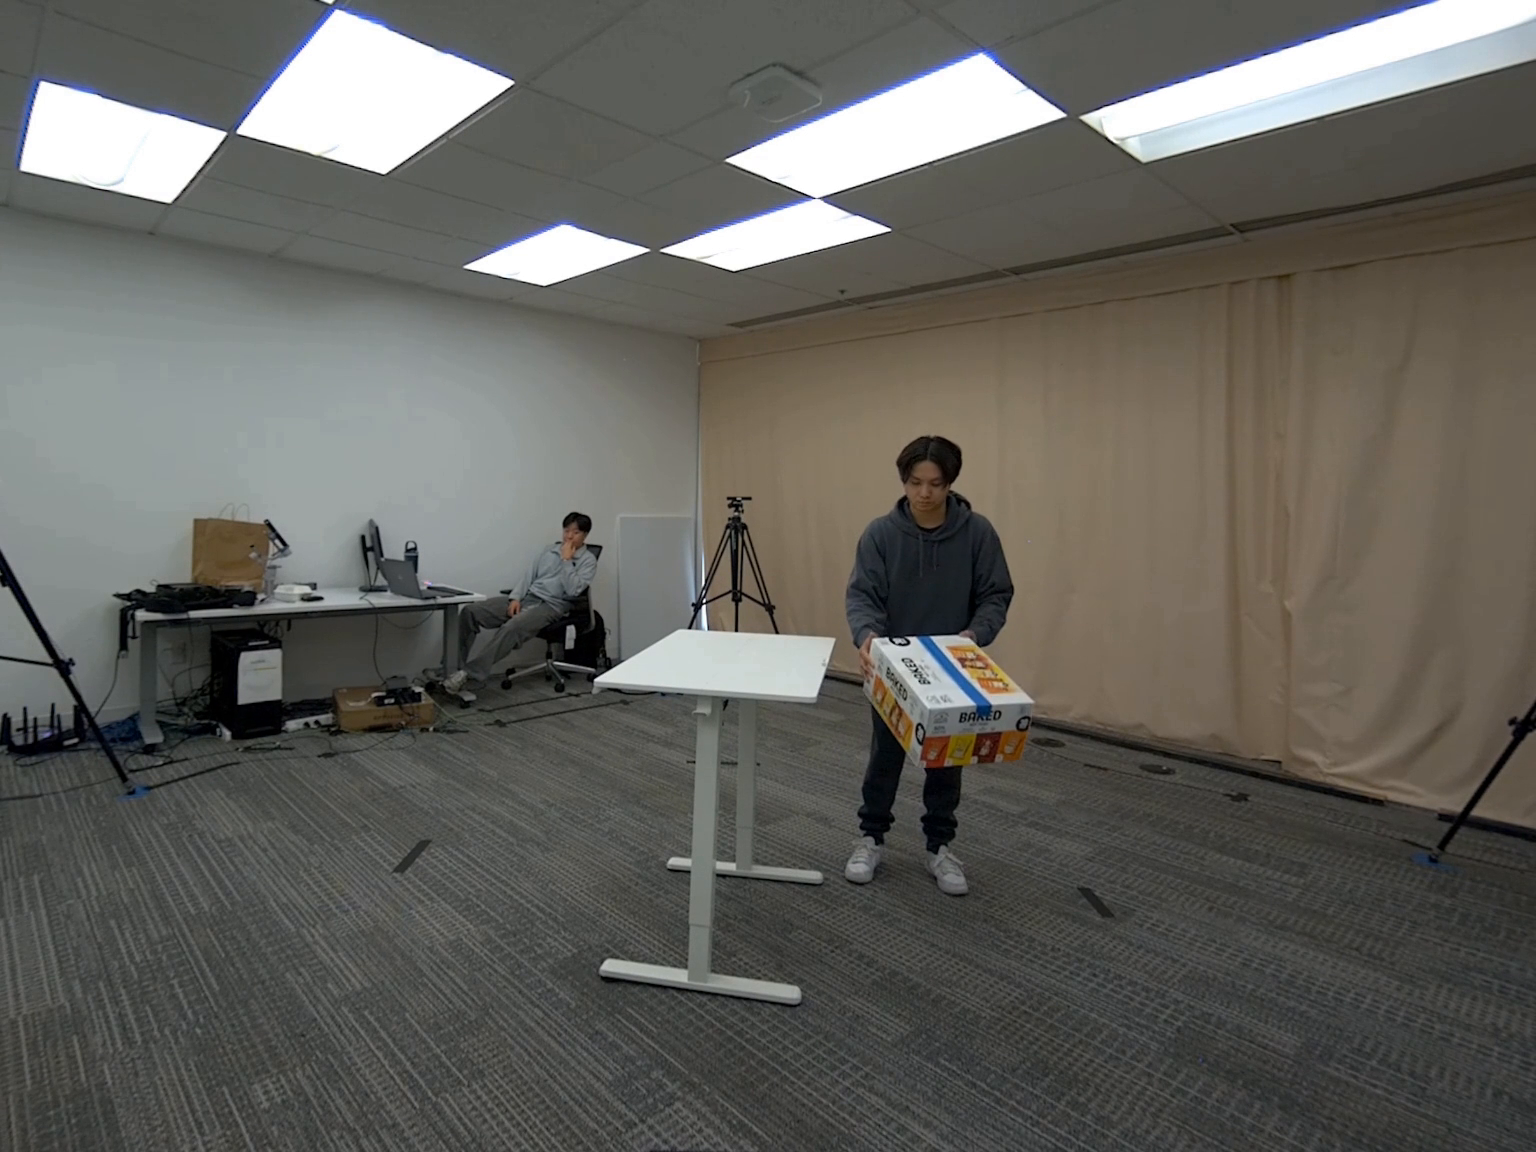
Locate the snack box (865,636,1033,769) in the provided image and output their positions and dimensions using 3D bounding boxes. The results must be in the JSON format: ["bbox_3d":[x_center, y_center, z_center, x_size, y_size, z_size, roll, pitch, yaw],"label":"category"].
[{"bbox_3d":[0.531,0.376,2.596,0.336,0.203,0.416,-1,25,-16],"label":"snack box"}]
